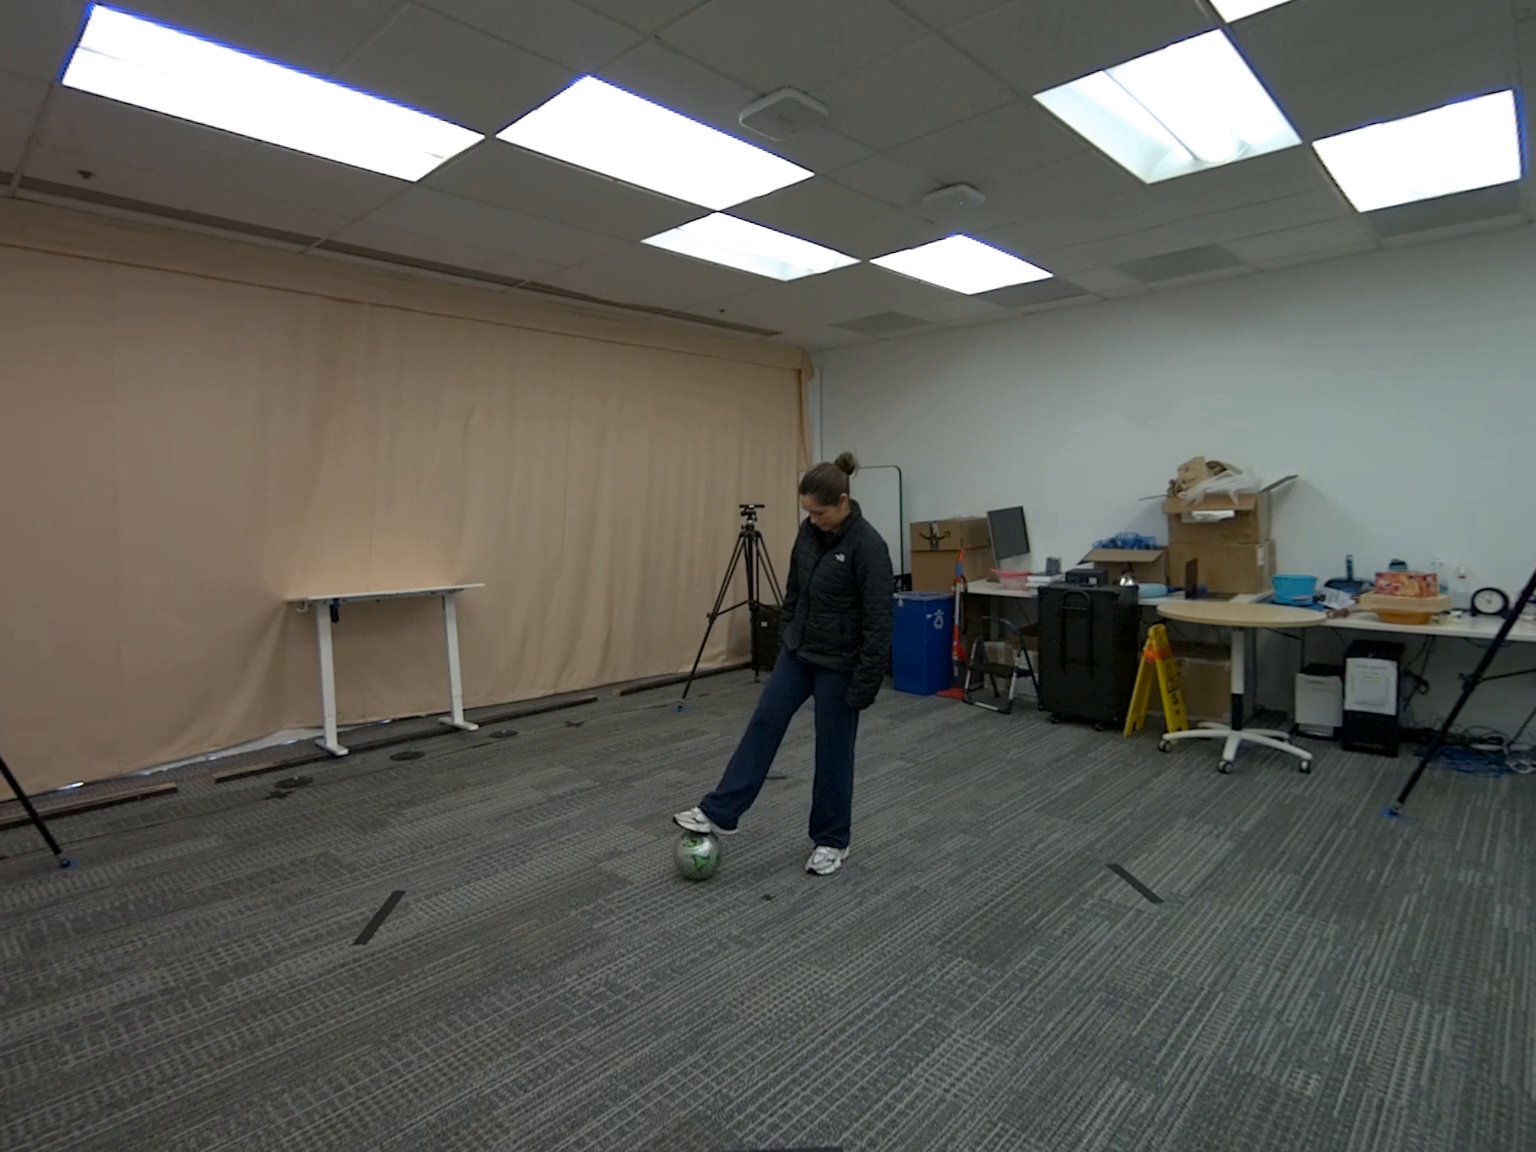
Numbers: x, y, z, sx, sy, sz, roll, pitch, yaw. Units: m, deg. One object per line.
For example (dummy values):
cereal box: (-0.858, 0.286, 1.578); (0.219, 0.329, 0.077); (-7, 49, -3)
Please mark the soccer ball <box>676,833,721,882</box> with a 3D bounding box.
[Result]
soccer ball: (-0.258, 1.037, 3.160); (0.187, 0.187, 0.188); (-1, 4, -2)
